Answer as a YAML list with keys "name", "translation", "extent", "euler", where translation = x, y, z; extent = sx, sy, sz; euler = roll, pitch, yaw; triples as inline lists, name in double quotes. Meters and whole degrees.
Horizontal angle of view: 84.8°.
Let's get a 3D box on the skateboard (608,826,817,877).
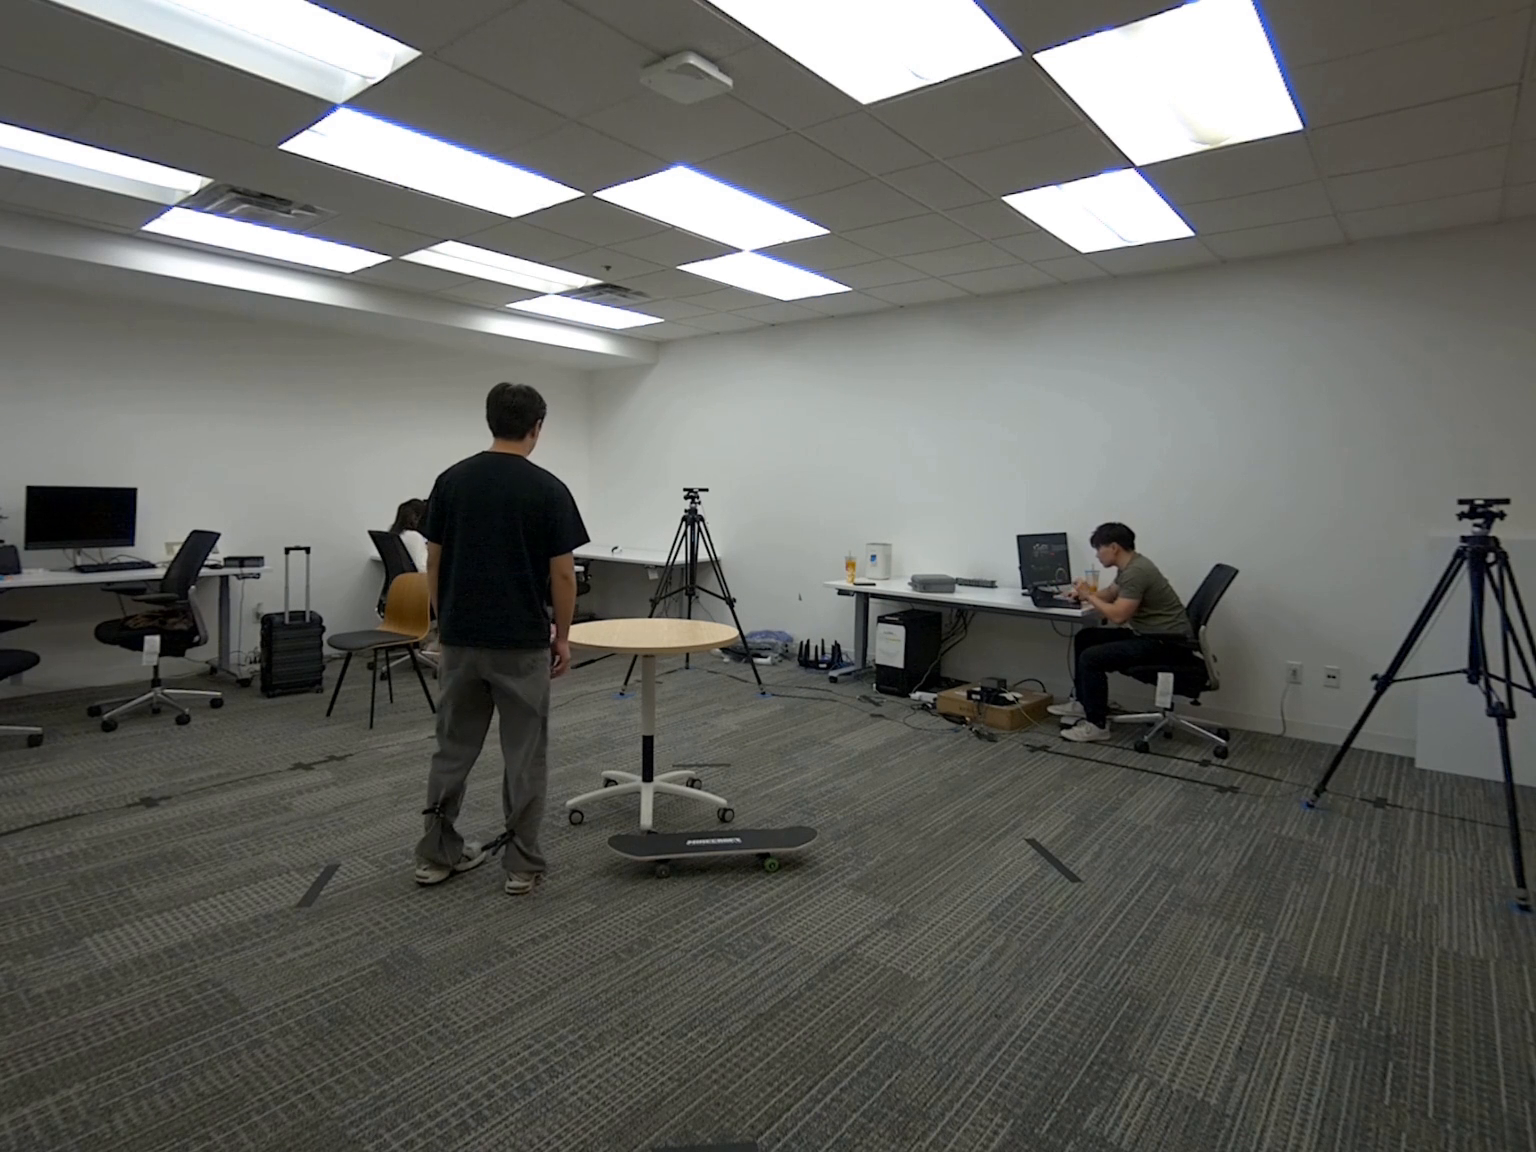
- name: "skateboard"
  translation: [-0.206, 1.012, 3.137]
  extent: [0.776, 0.110, 0.196]
  euler: [0, 5, -11]
